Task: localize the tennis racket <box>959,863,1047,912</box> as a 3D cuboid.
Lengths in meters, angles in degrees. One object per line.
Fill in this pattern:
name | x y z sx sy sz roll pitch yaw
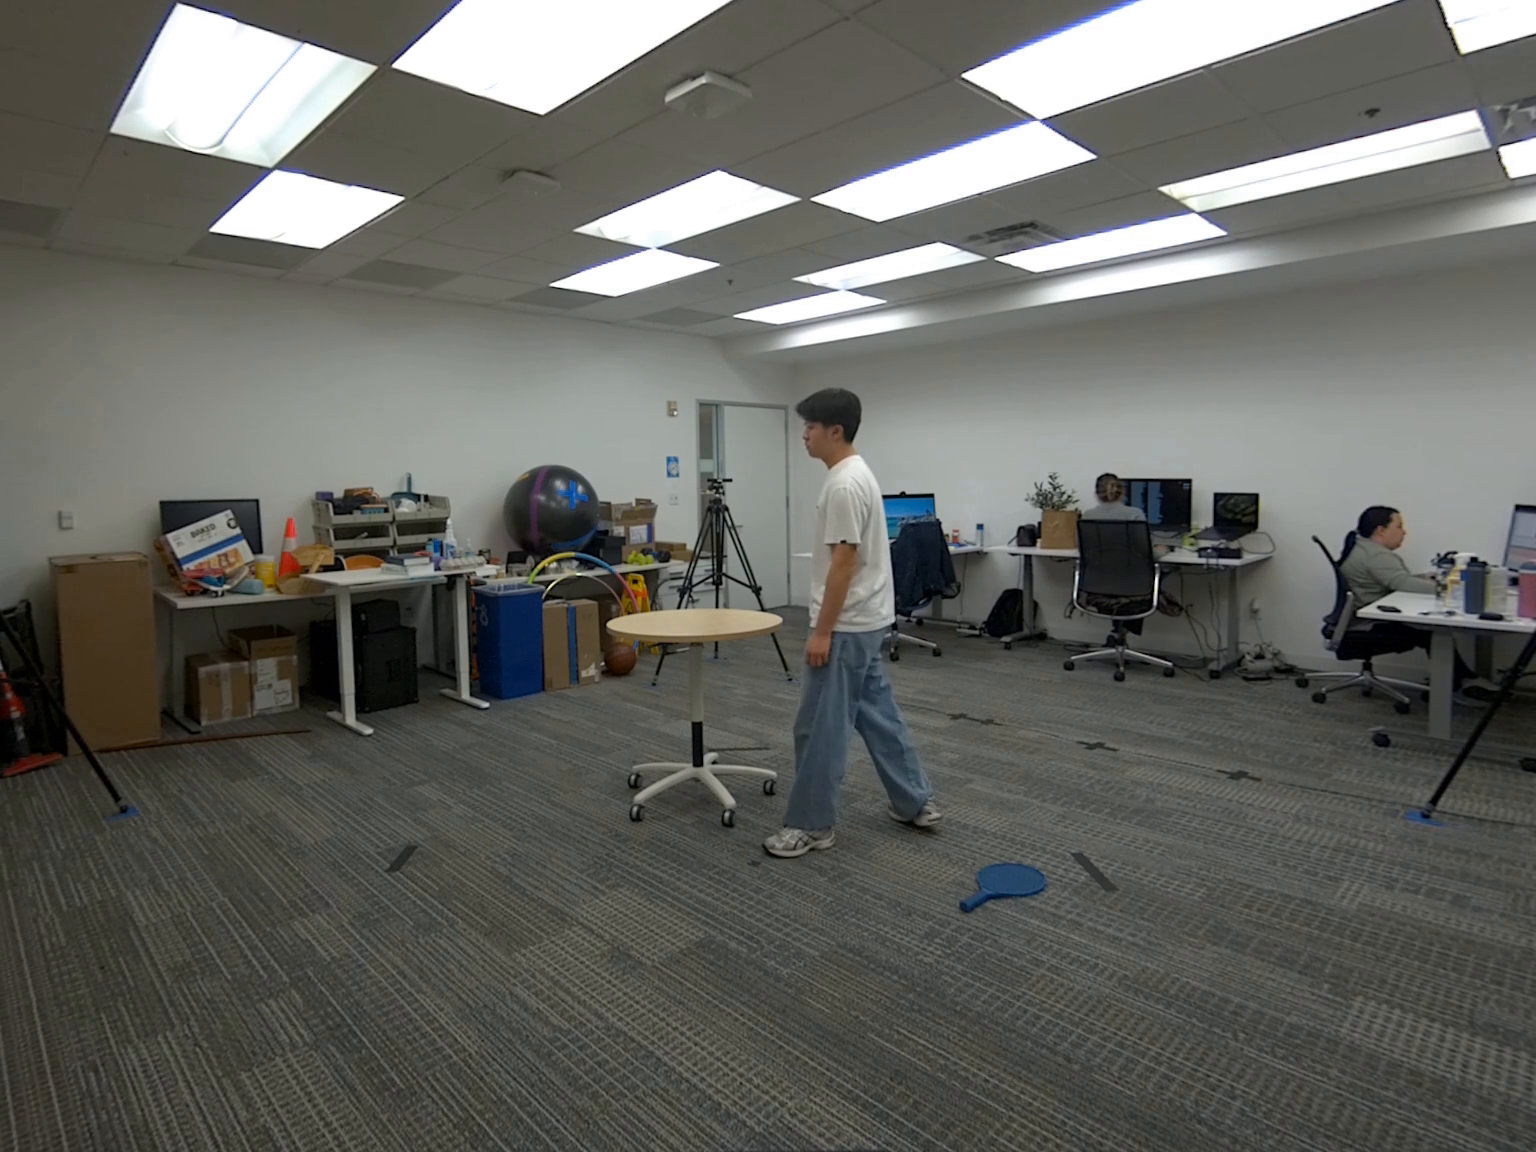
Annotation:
tennis racket | 0.772 1.040 2.885 0.421 0.031 0.220 -4 7 -41
